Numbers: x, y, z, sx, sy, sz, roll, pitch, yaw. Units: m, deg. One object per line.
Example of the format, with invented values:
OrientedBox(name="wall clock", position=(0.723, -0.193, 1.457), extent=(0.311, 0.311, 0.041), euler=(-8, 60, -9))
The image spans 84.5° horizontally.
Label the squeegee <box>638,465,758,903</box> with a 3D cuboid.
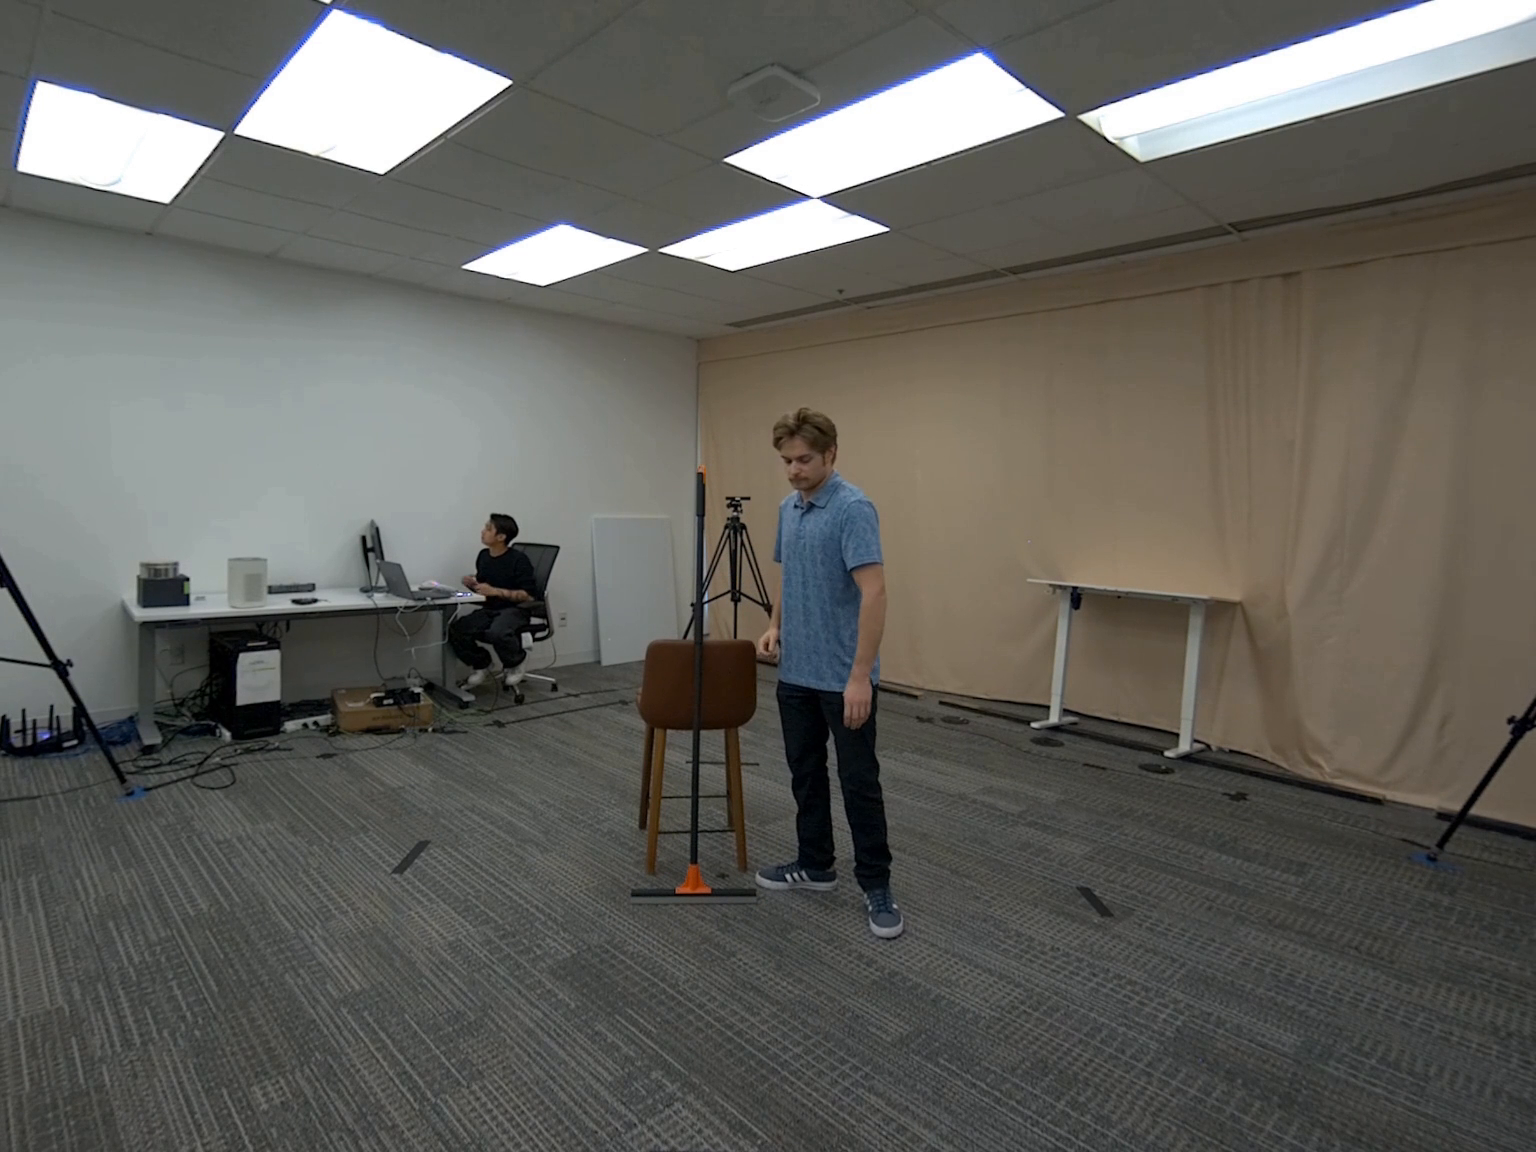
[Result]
OrientedBox(name="squeegee", position=(-0.235, 0.345, 3.005), extent=(0.446, 1.546, 0.051), euler=(-5, -9, 31))
